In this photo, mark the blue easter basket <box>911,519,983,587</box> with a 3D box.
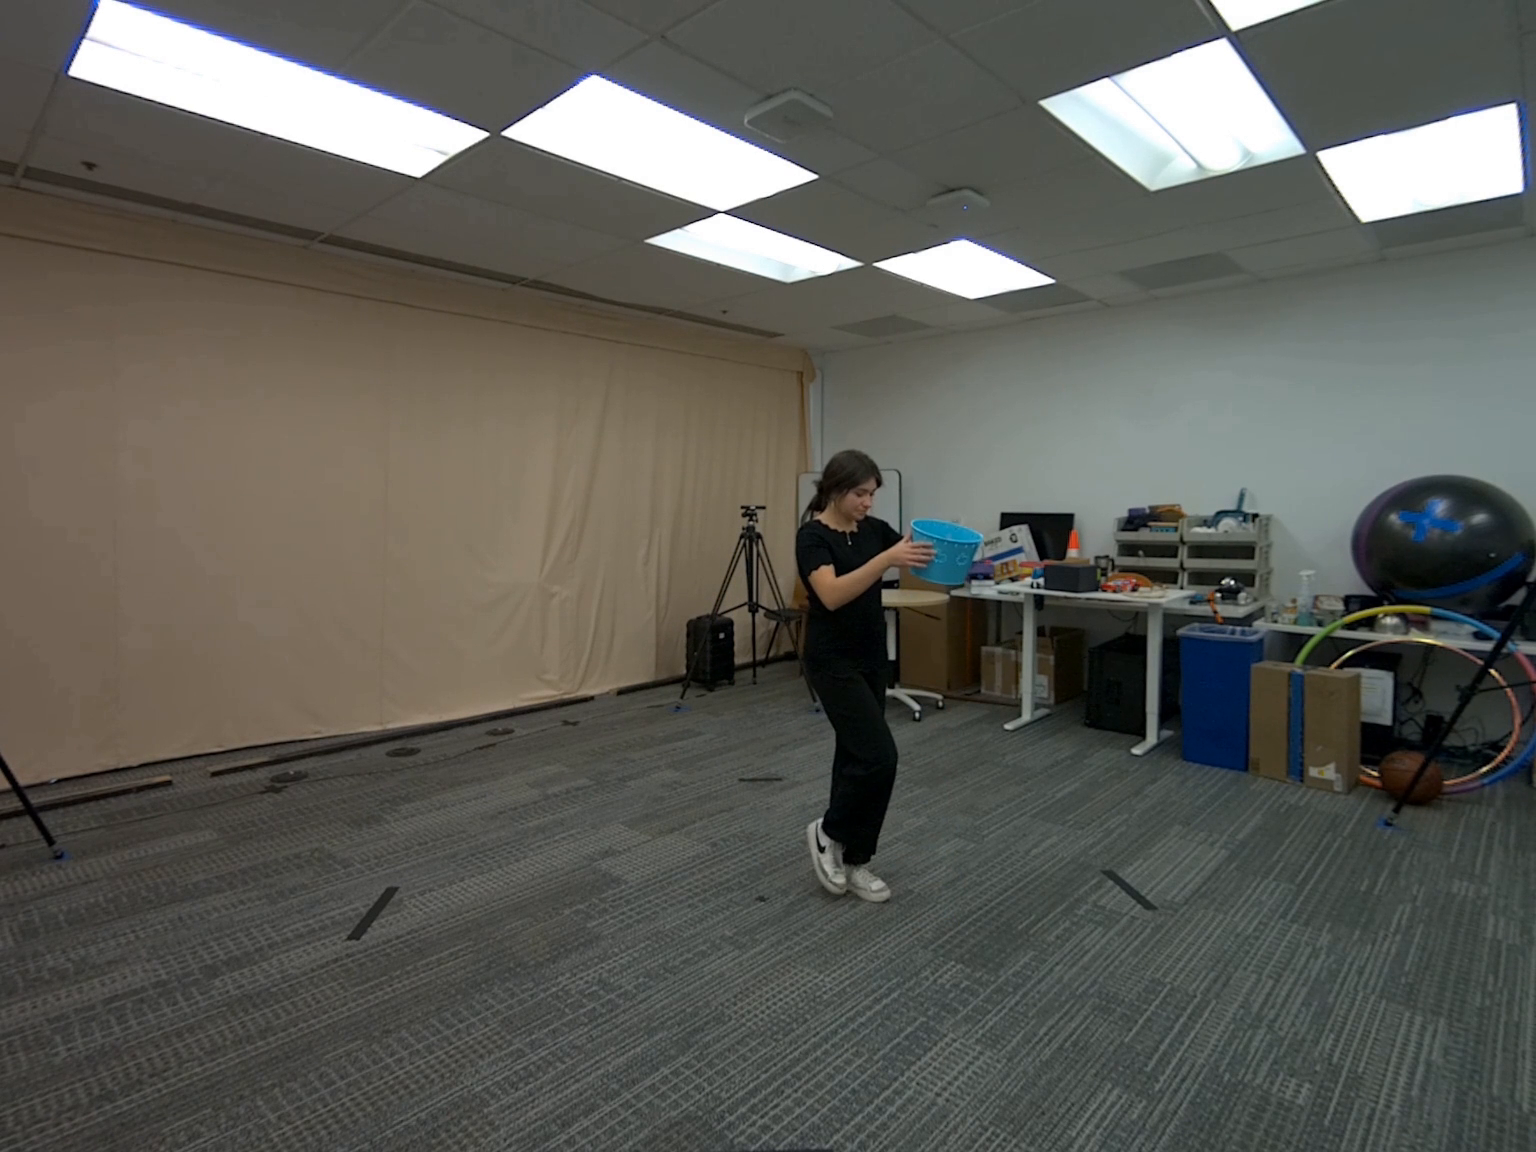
[{"bbox_3d":[0.571,-0.071,2.713,0.243,0.154,0.246,6,18,-4],"label":"blue easter basket"}]
